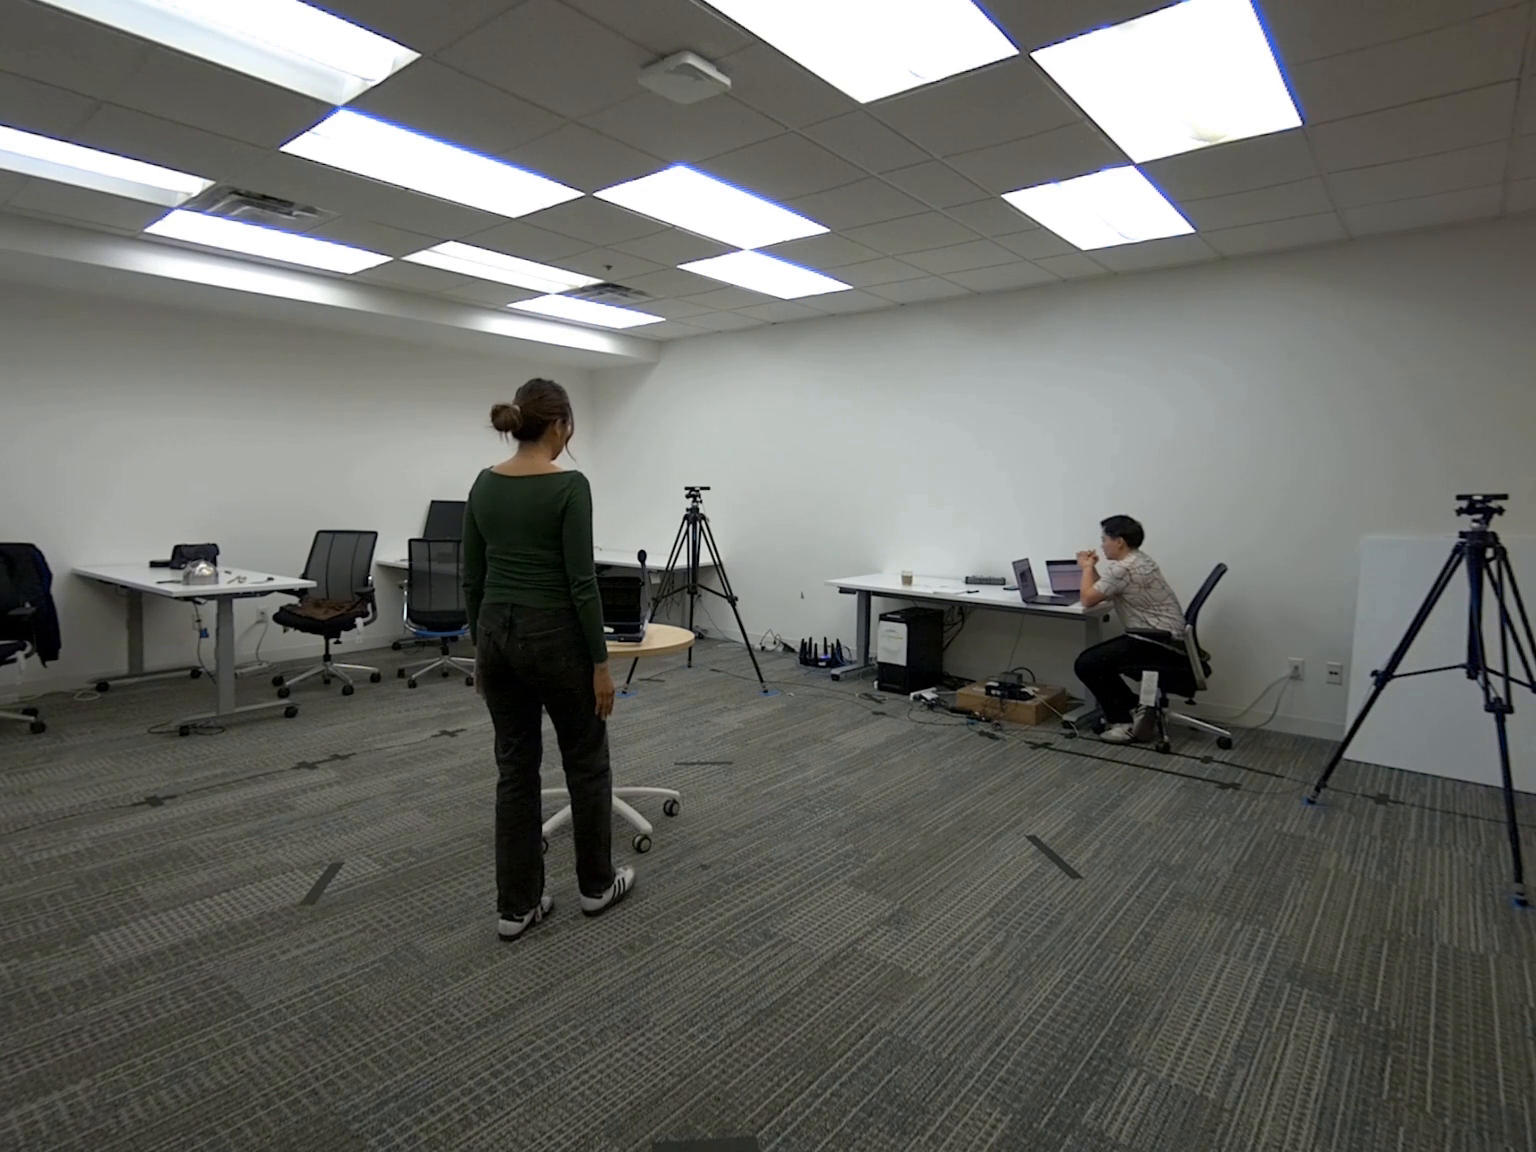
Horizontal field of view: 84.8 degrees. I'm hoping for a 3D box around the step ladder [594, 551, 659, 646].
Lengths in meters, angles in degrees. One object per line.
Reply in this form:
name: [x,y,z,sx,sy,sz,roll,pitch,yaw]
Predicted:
step ladder: [-0.709,0.103,3.531,0.431,0.352,0.602,2,-6,-1]
